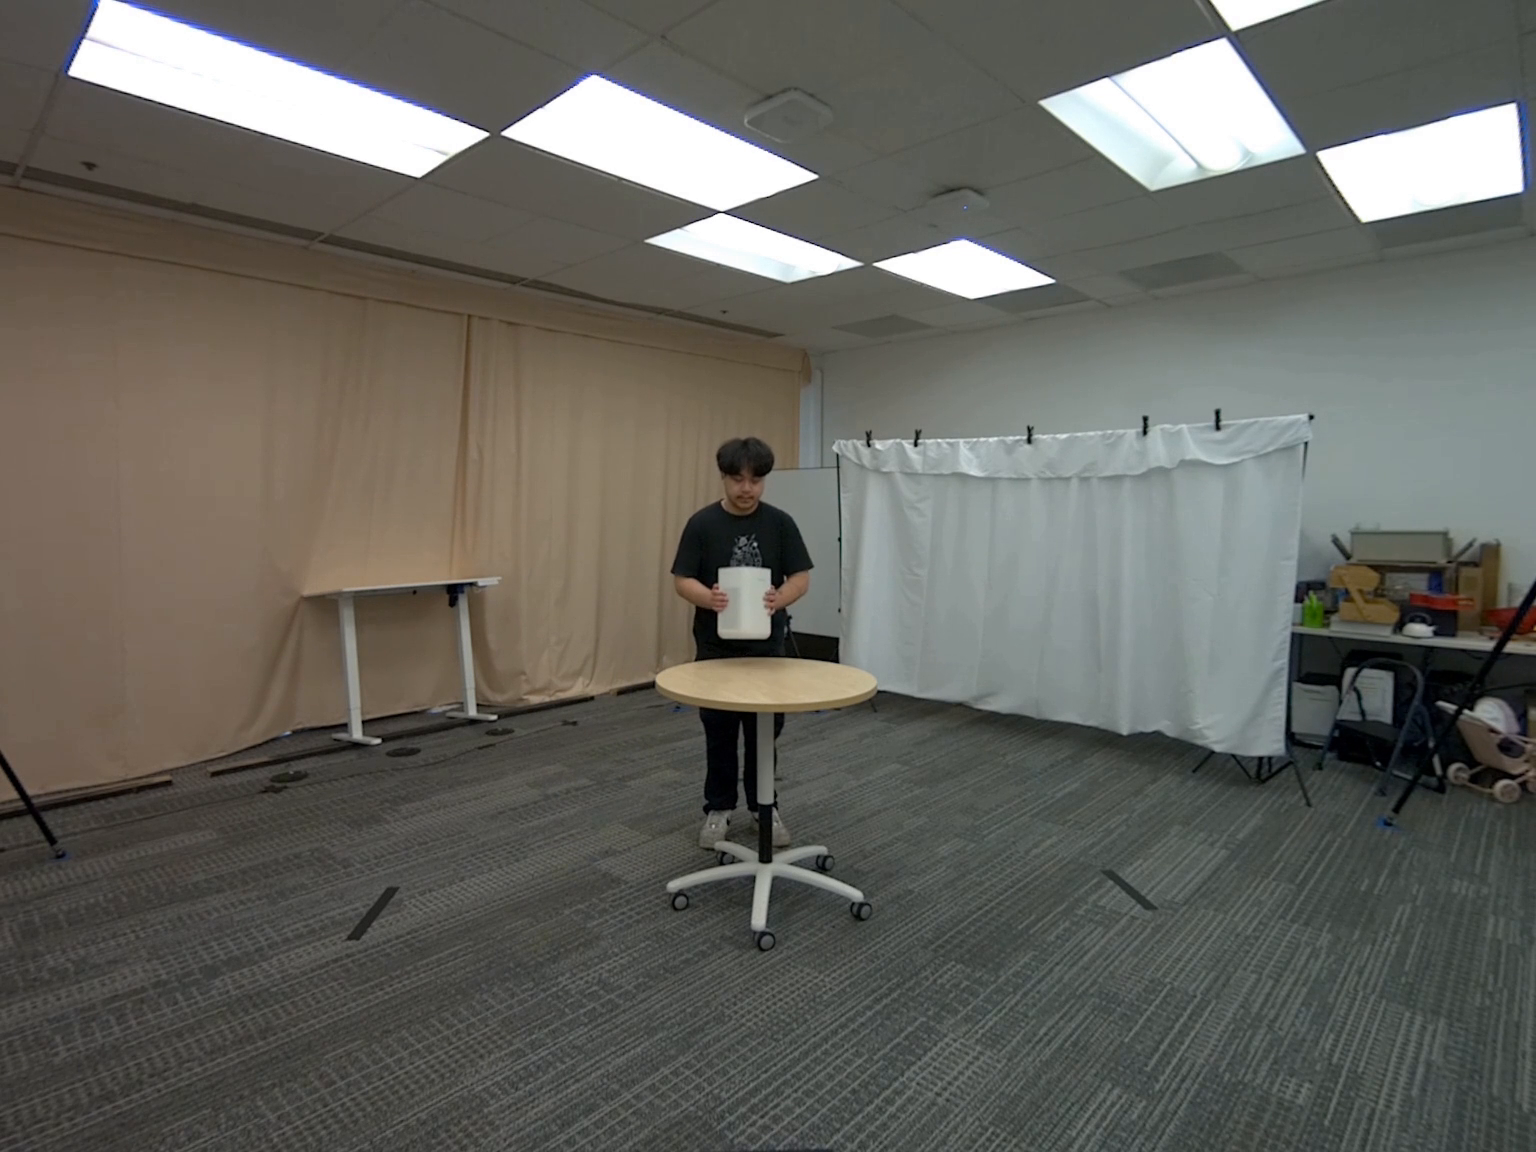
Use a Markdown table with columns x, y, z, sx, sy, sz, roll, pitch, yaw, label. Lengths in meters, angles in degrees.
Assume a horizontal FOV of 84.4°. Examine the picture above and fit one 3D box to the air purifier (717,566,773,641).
| x | y | z | sx | sy | sz | roll | pitch | yaw | label |
| --- | --- | --- | --- | --- | --- | --- | --- | --- | --- |
| -0.087 | 0.107 | 3.180 | 0.177 | 0.266 | 0.165 | -2 | -7 | 37 | air purifier |
